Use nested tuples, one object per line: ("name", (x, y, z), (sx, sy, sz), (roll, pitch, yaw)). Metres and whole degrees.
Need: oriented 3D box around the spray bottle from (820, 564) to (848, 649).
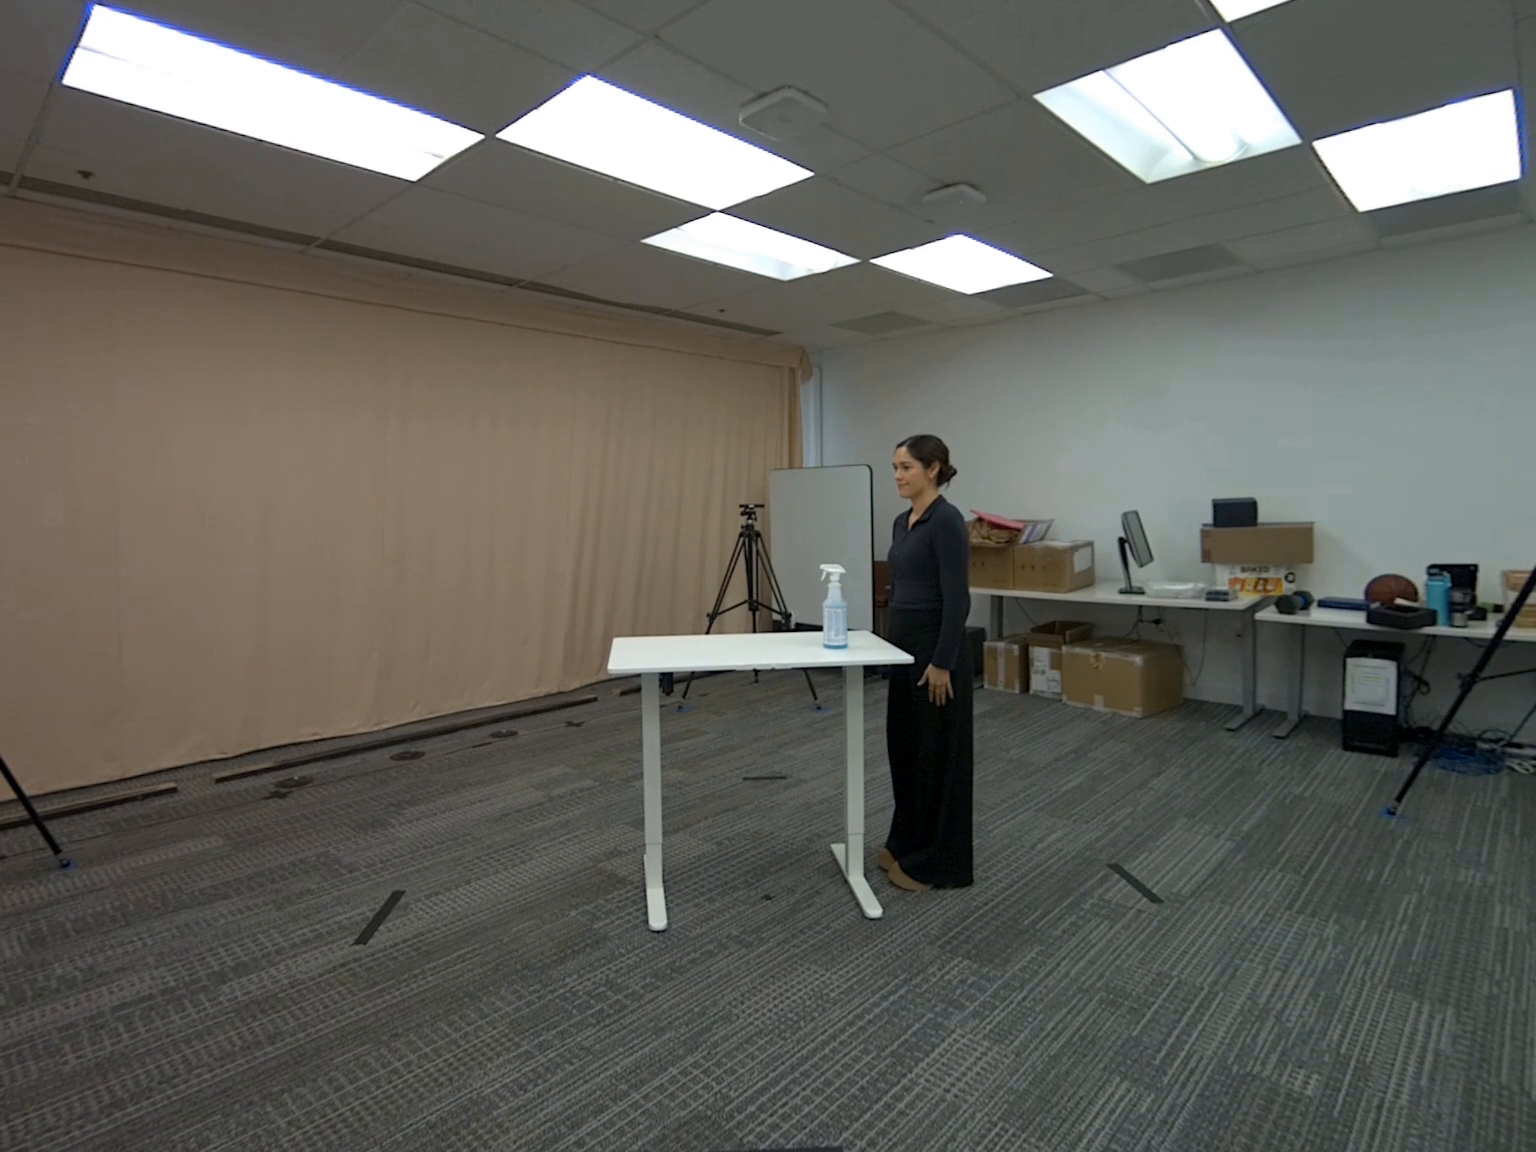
("spray bottle", (0.246, 0.110, 2.988), (0.091, 0.296, 0.086), (-1, 4, 13))
